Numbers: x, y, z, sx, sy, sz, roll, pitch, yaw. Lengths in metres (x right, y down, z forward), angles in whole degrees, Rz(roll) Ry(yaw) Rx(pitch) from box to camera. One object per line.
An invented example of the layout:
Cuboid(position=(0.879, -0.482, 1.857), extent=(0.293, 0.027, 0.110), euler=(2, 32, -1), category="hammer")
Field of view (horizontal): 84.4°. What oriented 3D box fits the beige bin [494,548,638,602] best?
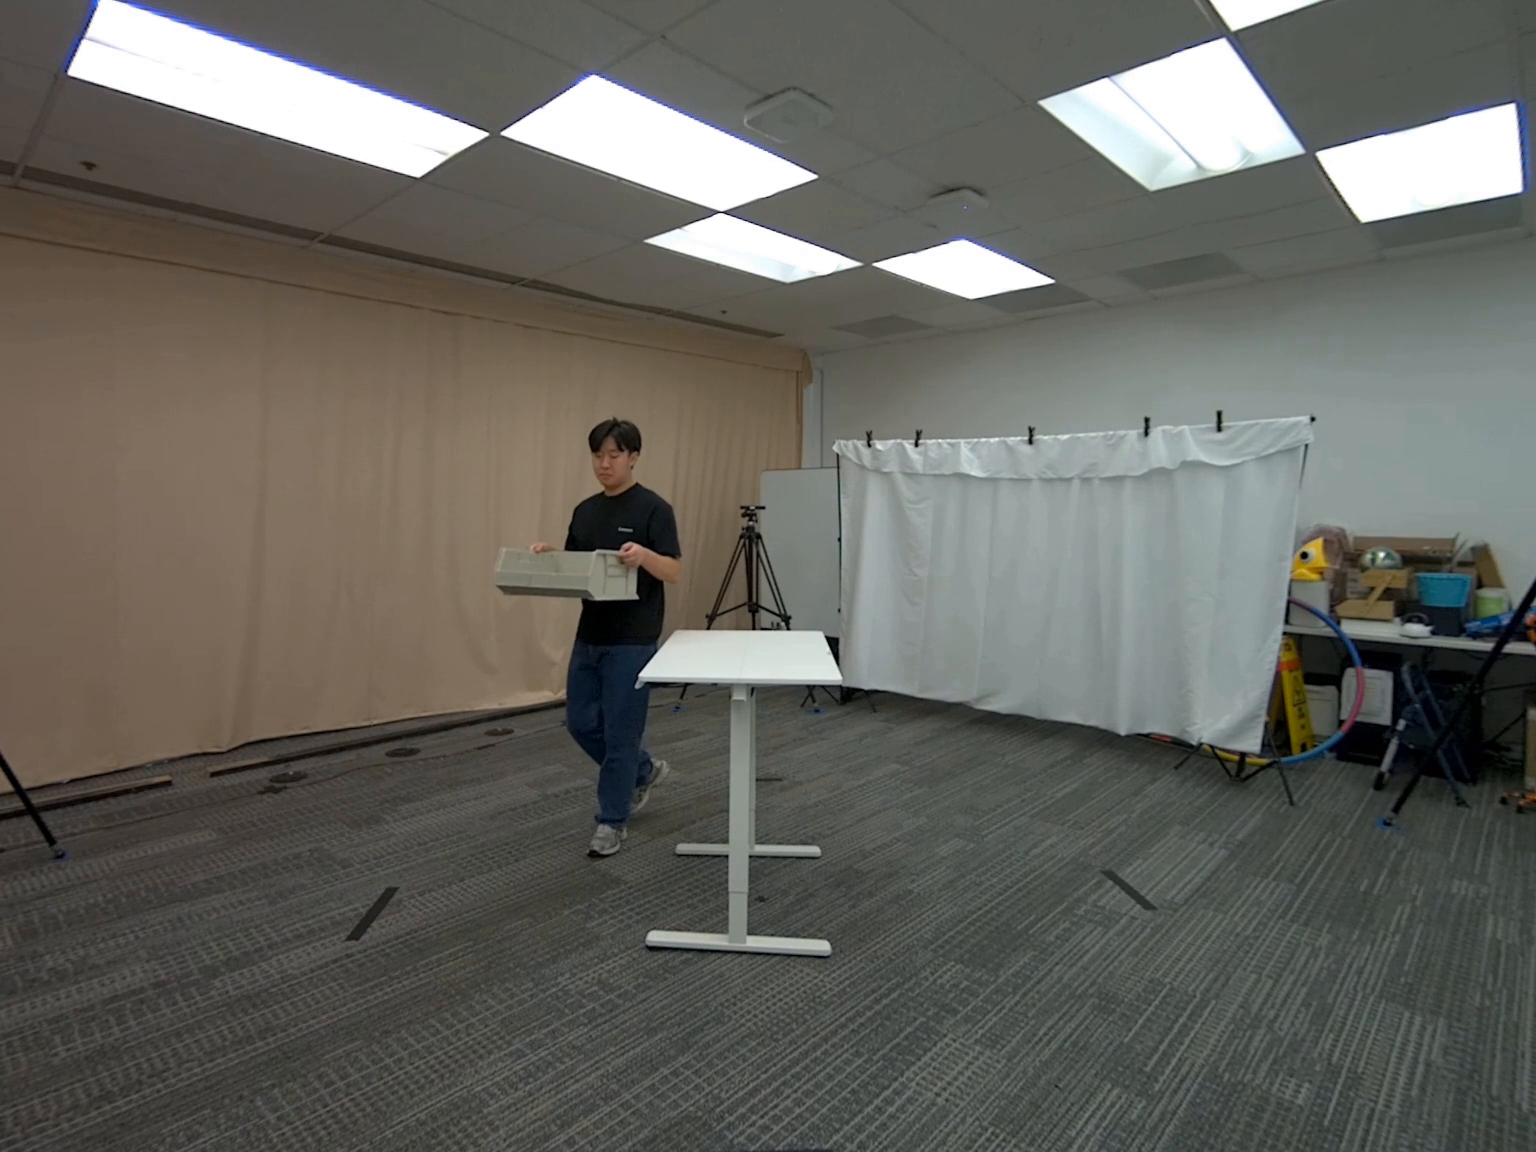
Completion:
Cuboid(position=(-0.744, -0.004, 3.190), extent=(0.432, 0.189, 0.368), euler=(1, -1, 23), category="beige bin")
